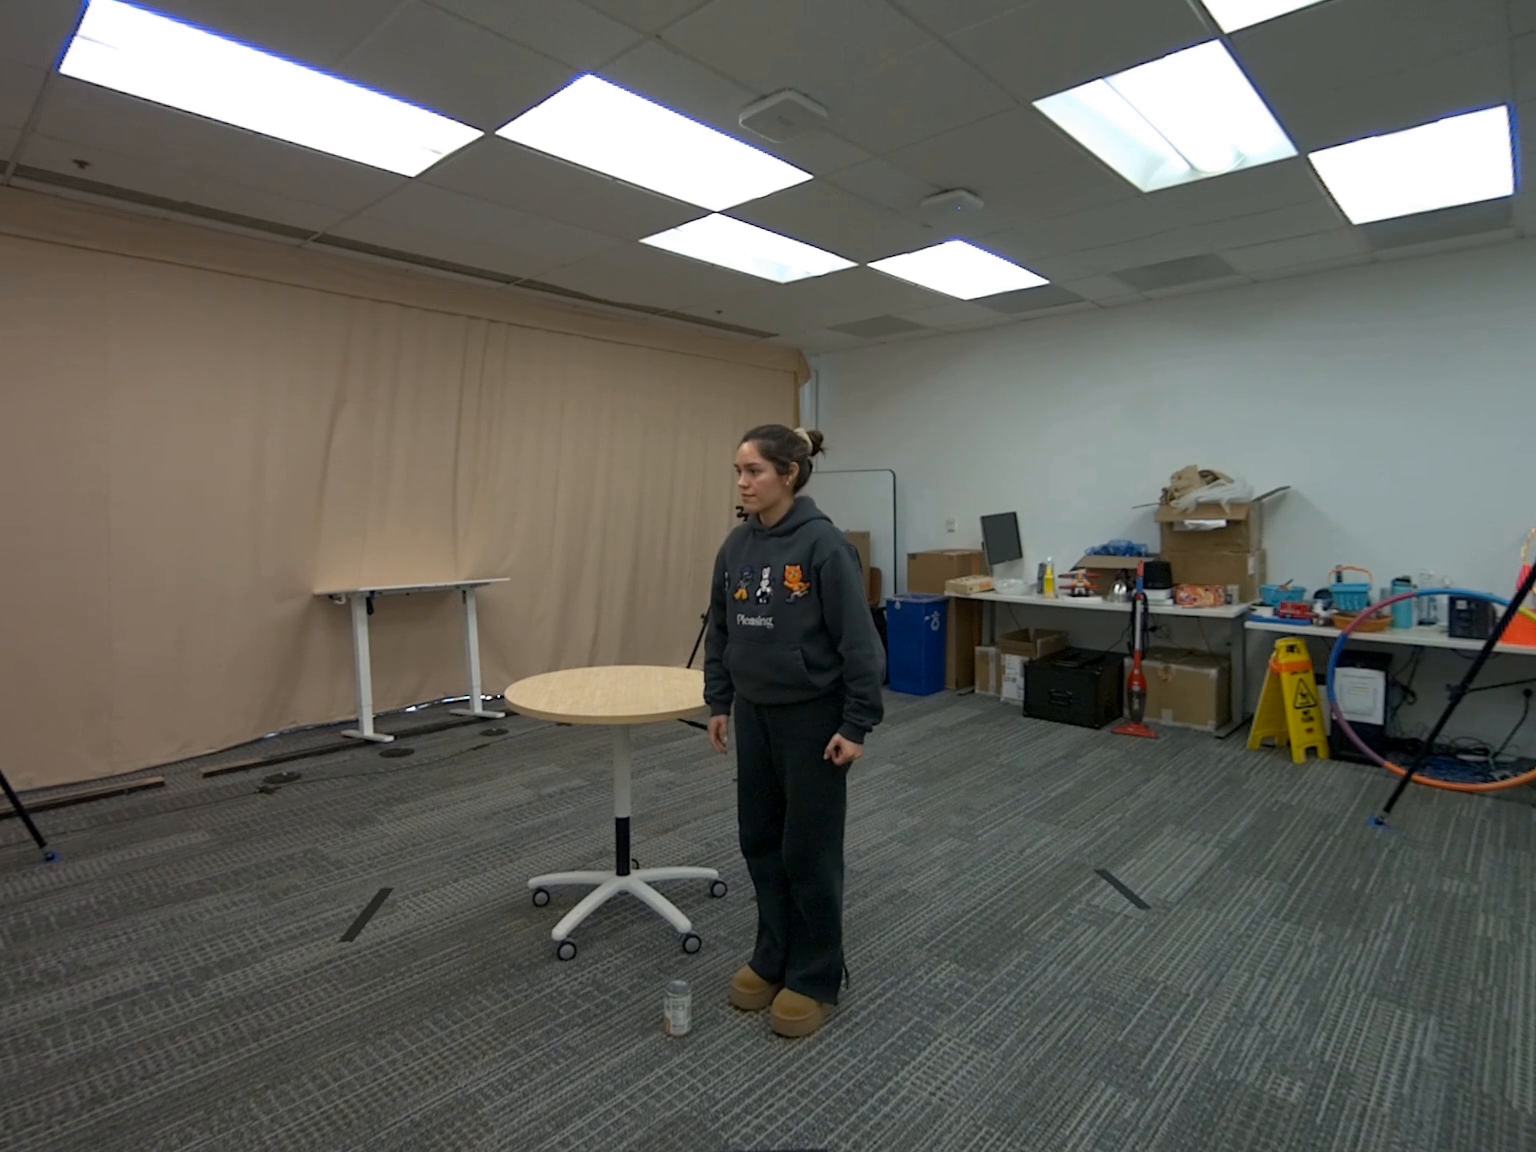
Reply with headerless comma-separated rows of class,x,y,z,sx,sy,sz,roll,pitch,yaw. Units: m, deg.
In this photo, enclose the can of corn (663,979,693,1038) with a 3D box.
can of corn,-0.221,1.161,2.236,0.074,0.111,0.074,-1,2,-2
